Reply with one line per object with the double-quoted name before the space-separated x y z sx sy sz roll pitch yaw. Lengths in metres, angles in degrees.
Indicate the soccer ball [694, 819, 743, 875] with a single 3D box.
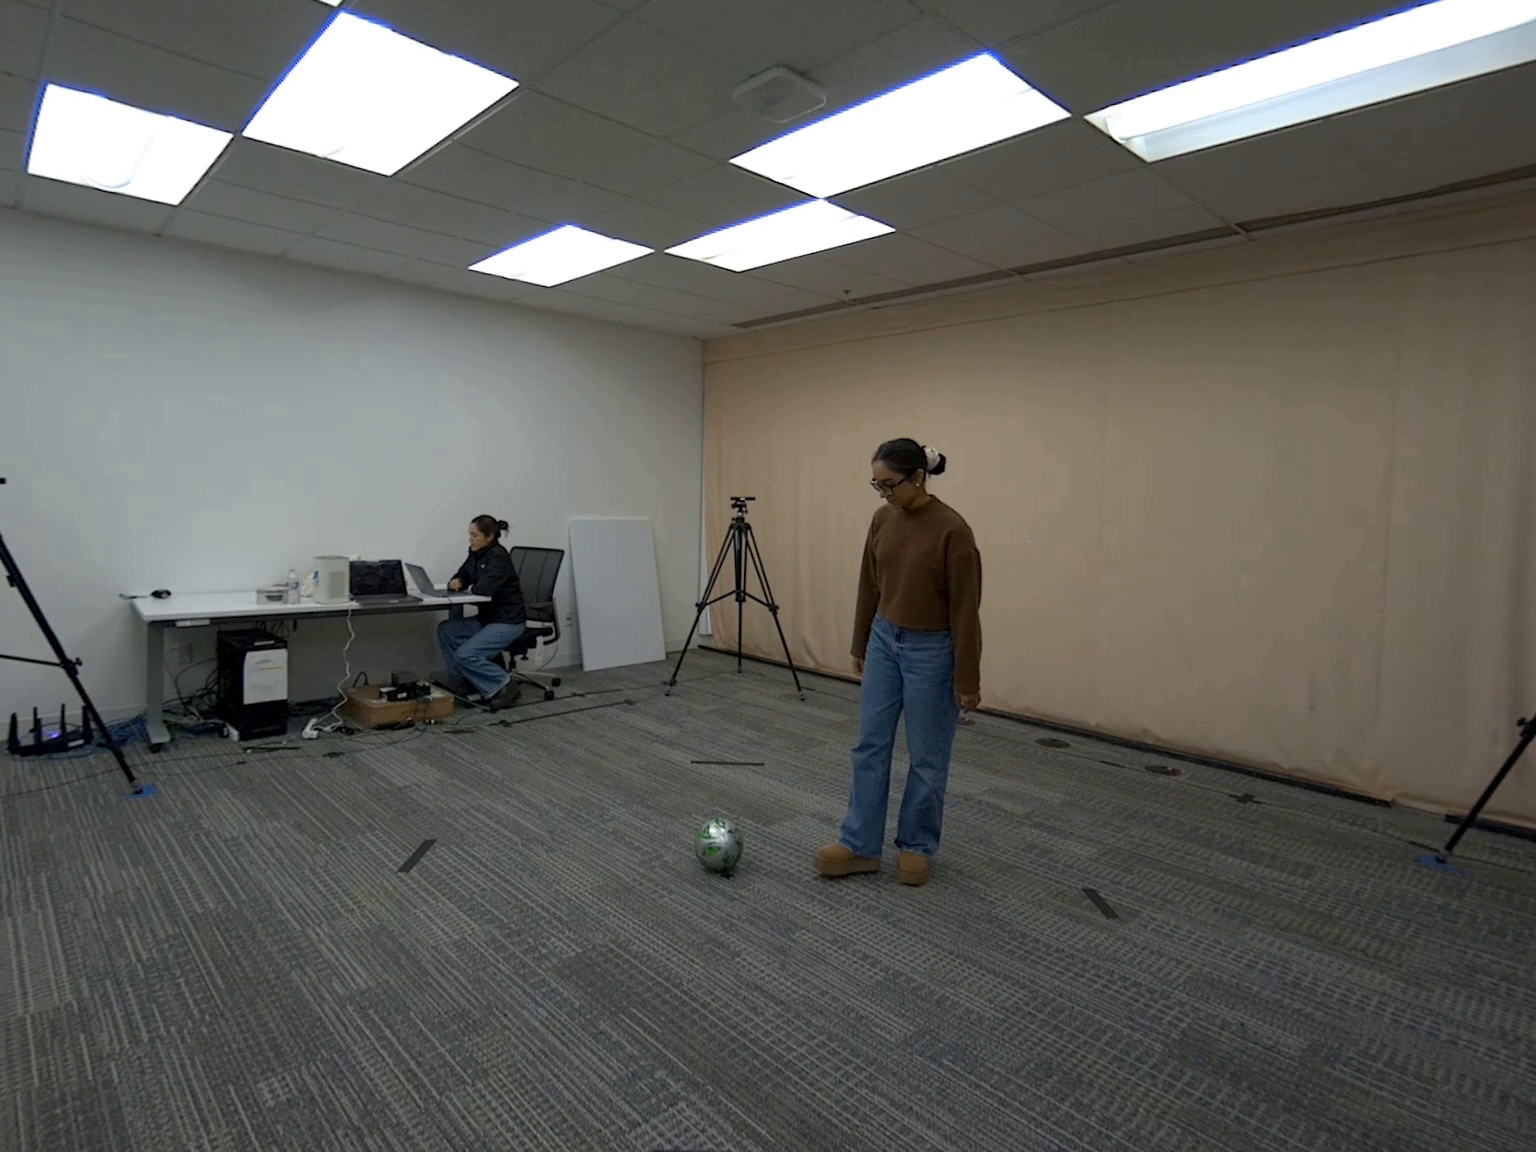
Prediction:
"soccer ball" -0.193 1.004 3.152 0.187 0.187 0.188 1 4 -1
